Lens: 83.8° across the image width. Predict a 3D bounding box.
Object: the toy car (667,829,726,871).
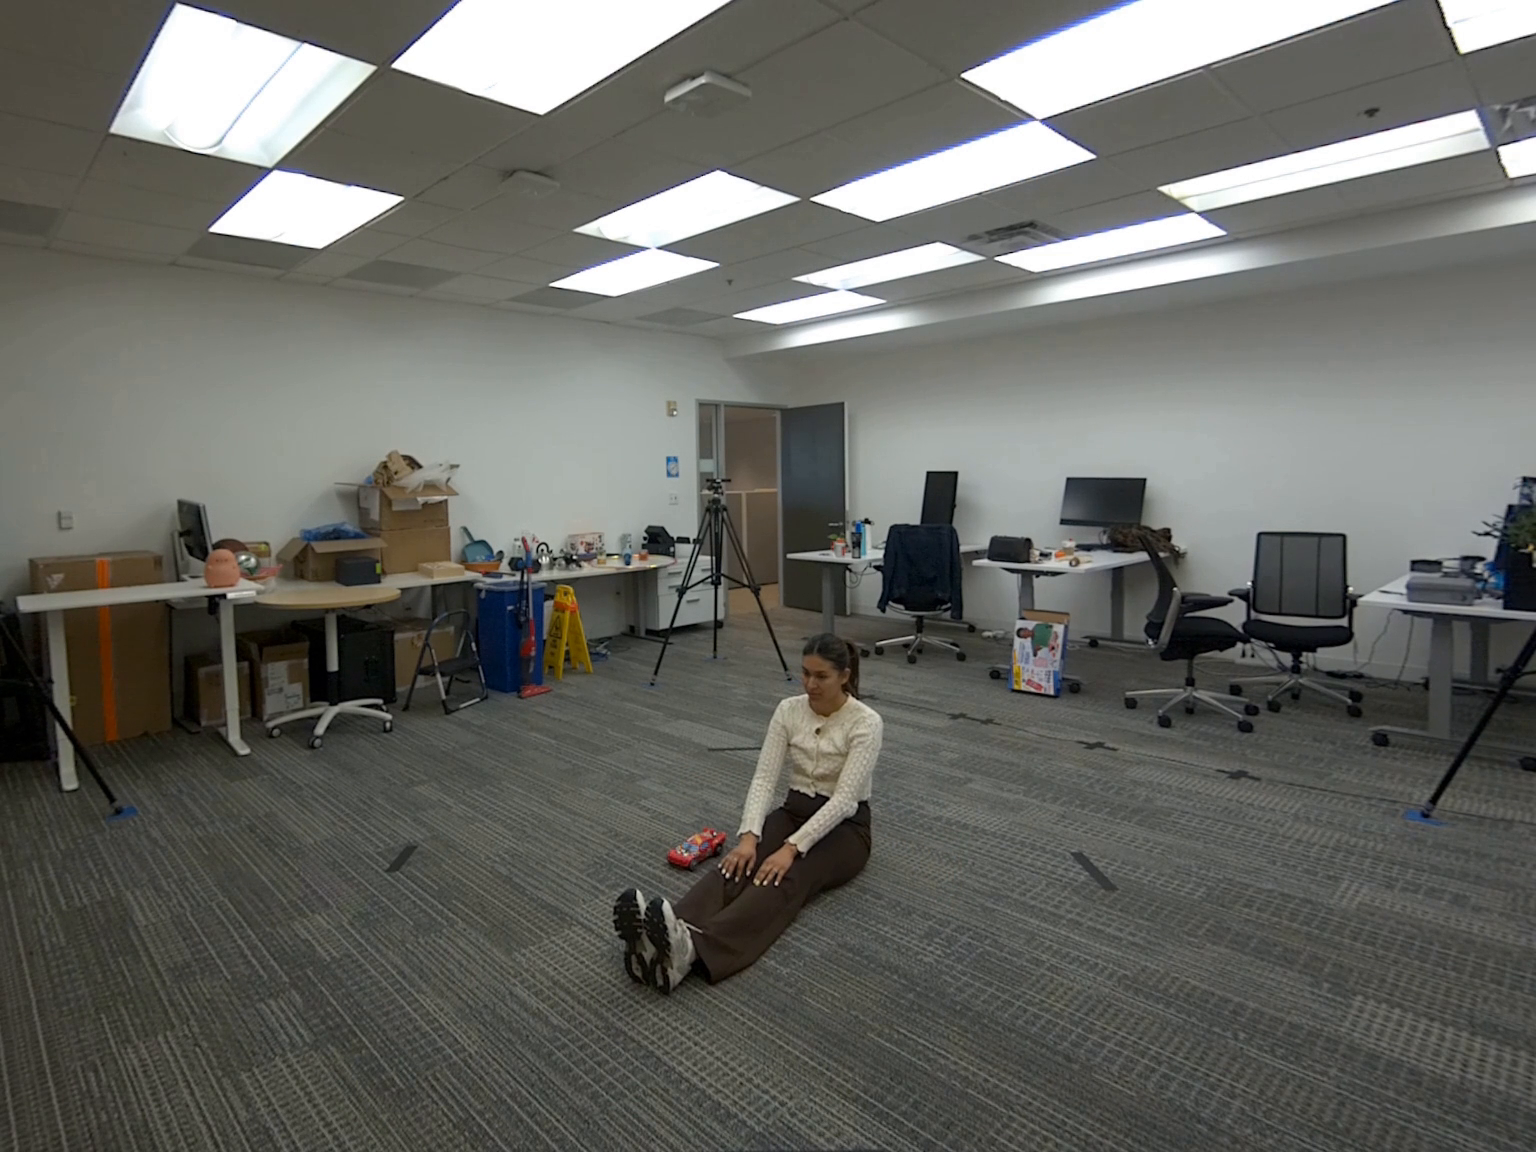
[{"bbox_3d":[-0.250,1.009,3.164,0.134,0.082,0.251,2,18,36],"label":"toy car"}]
